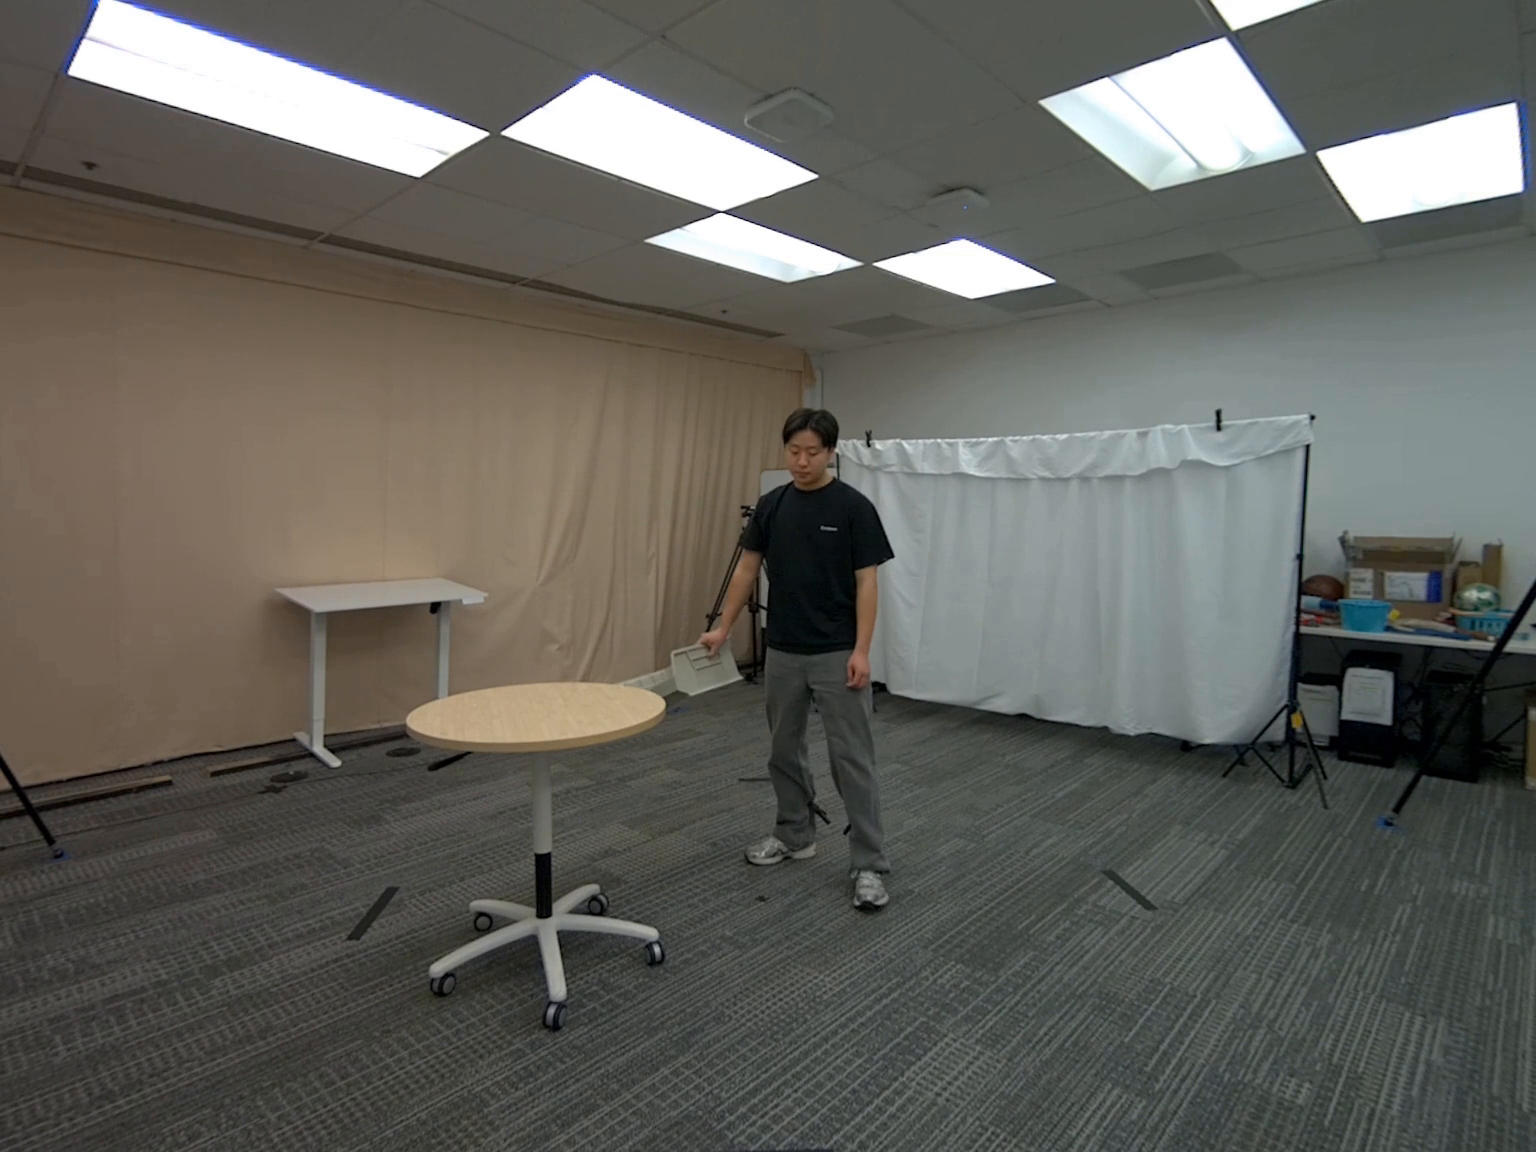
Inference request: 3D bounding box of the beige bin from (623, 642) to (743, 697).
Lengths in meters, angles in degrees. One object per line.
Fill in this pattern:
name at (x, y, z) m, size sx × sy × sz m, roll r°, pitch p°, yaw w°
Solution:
beige bin at (-0.379, 0.426, 3.358) m, size 0.430 × 0.191 × 0.366 m, roll -29°, pitch -13°, yaw 37°
